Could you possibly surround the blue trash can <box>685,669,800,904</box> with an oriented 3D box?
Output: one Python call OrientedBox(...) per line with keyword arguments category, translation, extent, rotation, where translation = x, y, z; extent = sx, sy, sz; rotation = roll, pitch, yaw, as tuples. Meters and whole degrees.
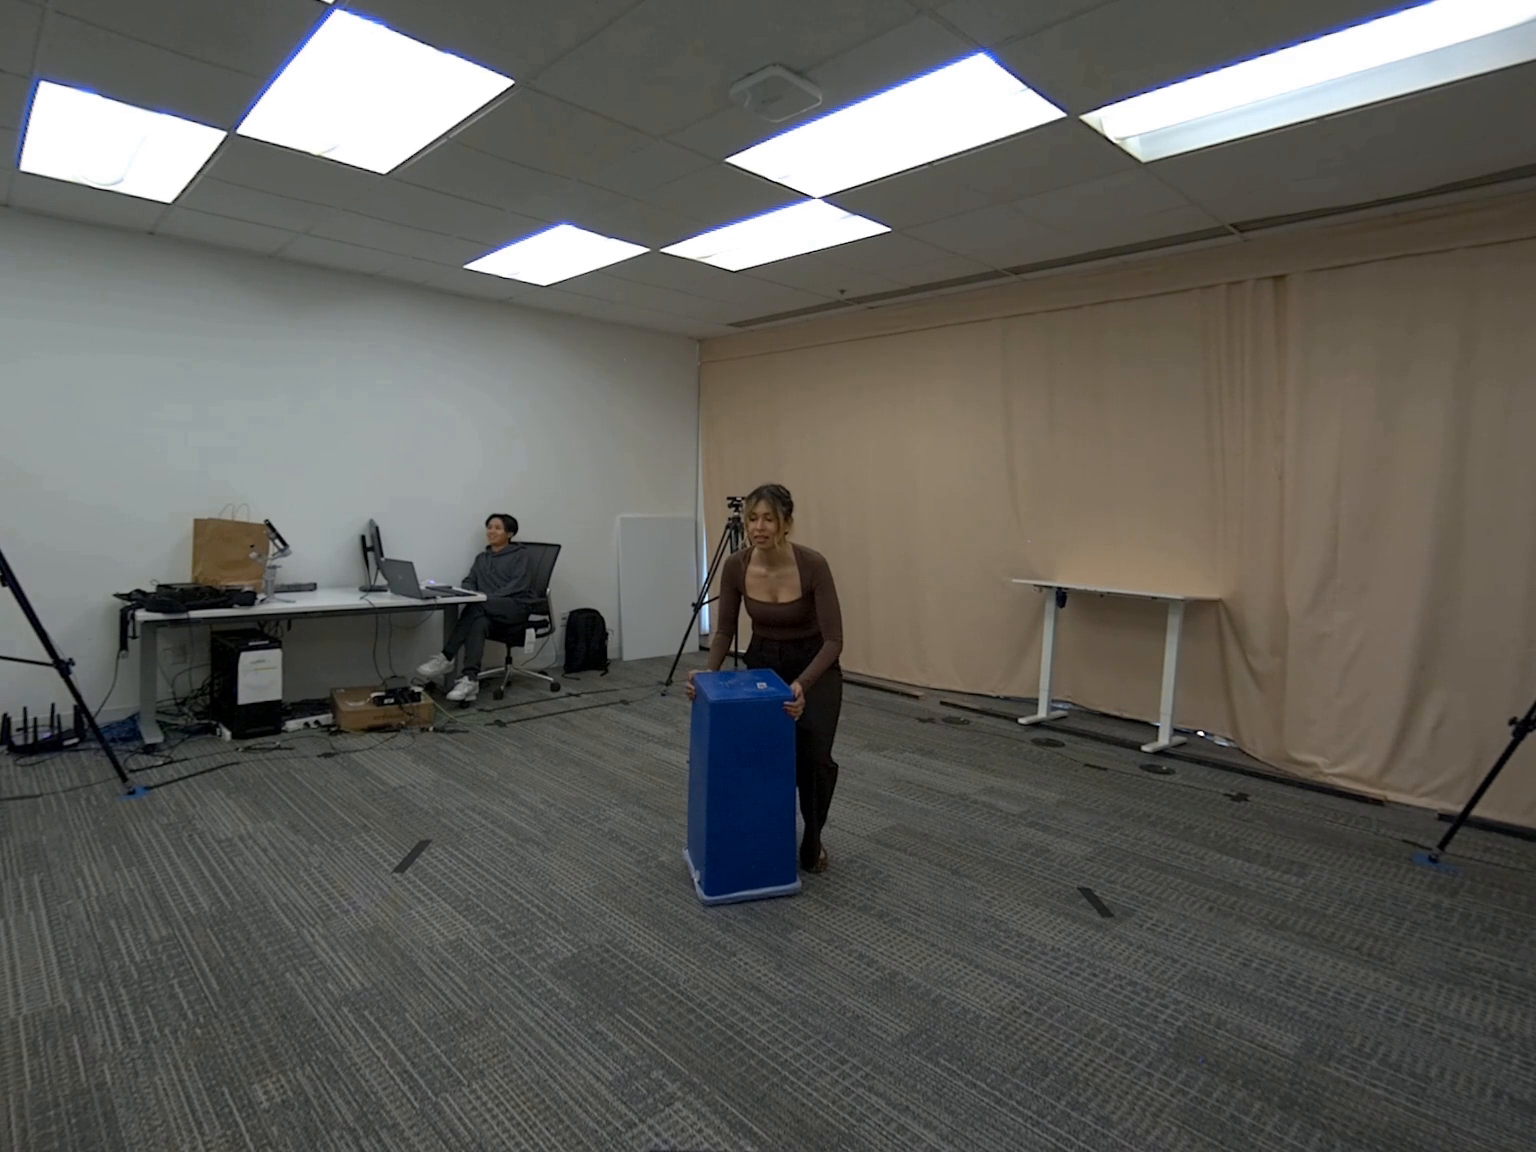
OrientedBox(category="blue trash can", translation=(-0.099, 0.722, 3.014), extent=(0.370, 0.709, 0.385), rotation=(0, 9, -16))
